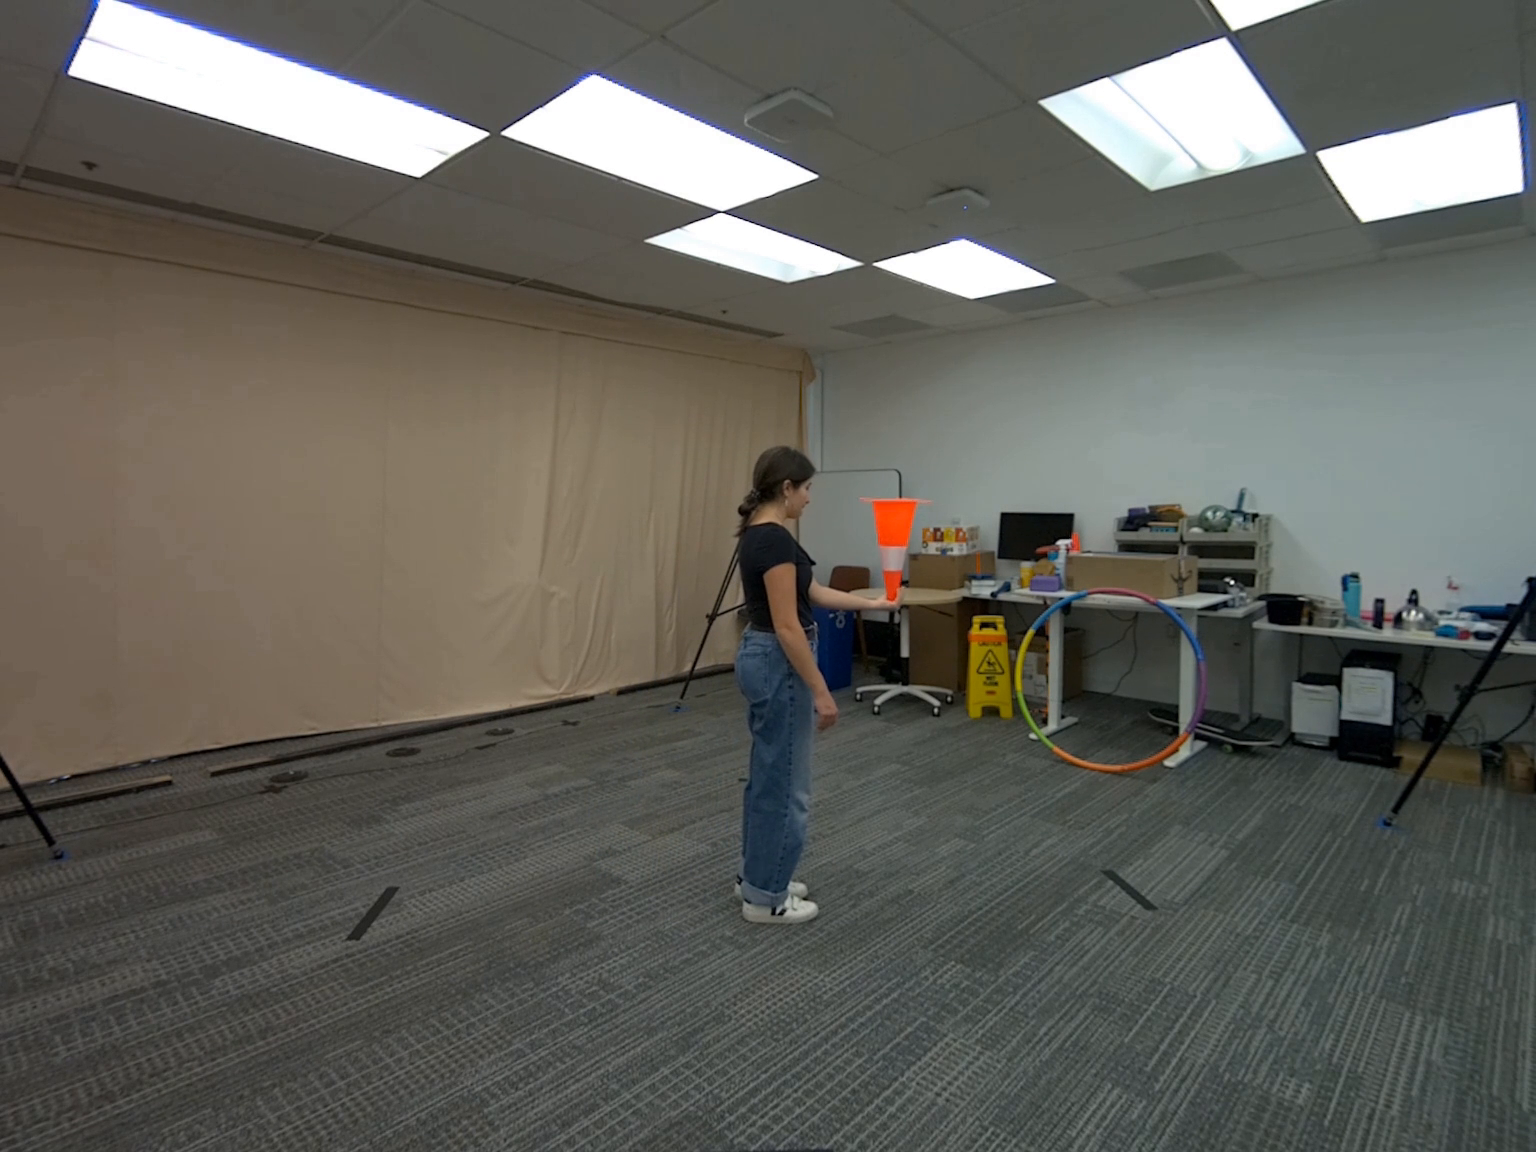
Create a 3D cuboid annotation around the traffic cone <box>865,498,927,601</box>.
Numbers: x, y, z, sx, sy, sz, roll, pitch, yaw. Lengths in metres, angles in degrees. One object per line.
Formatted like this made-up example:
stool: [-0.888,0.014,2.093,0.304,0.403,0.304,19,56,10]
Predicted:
traffic cone: [0.471,-0.080,3.090,0.200,0.383,0.209,2,3,-17]
